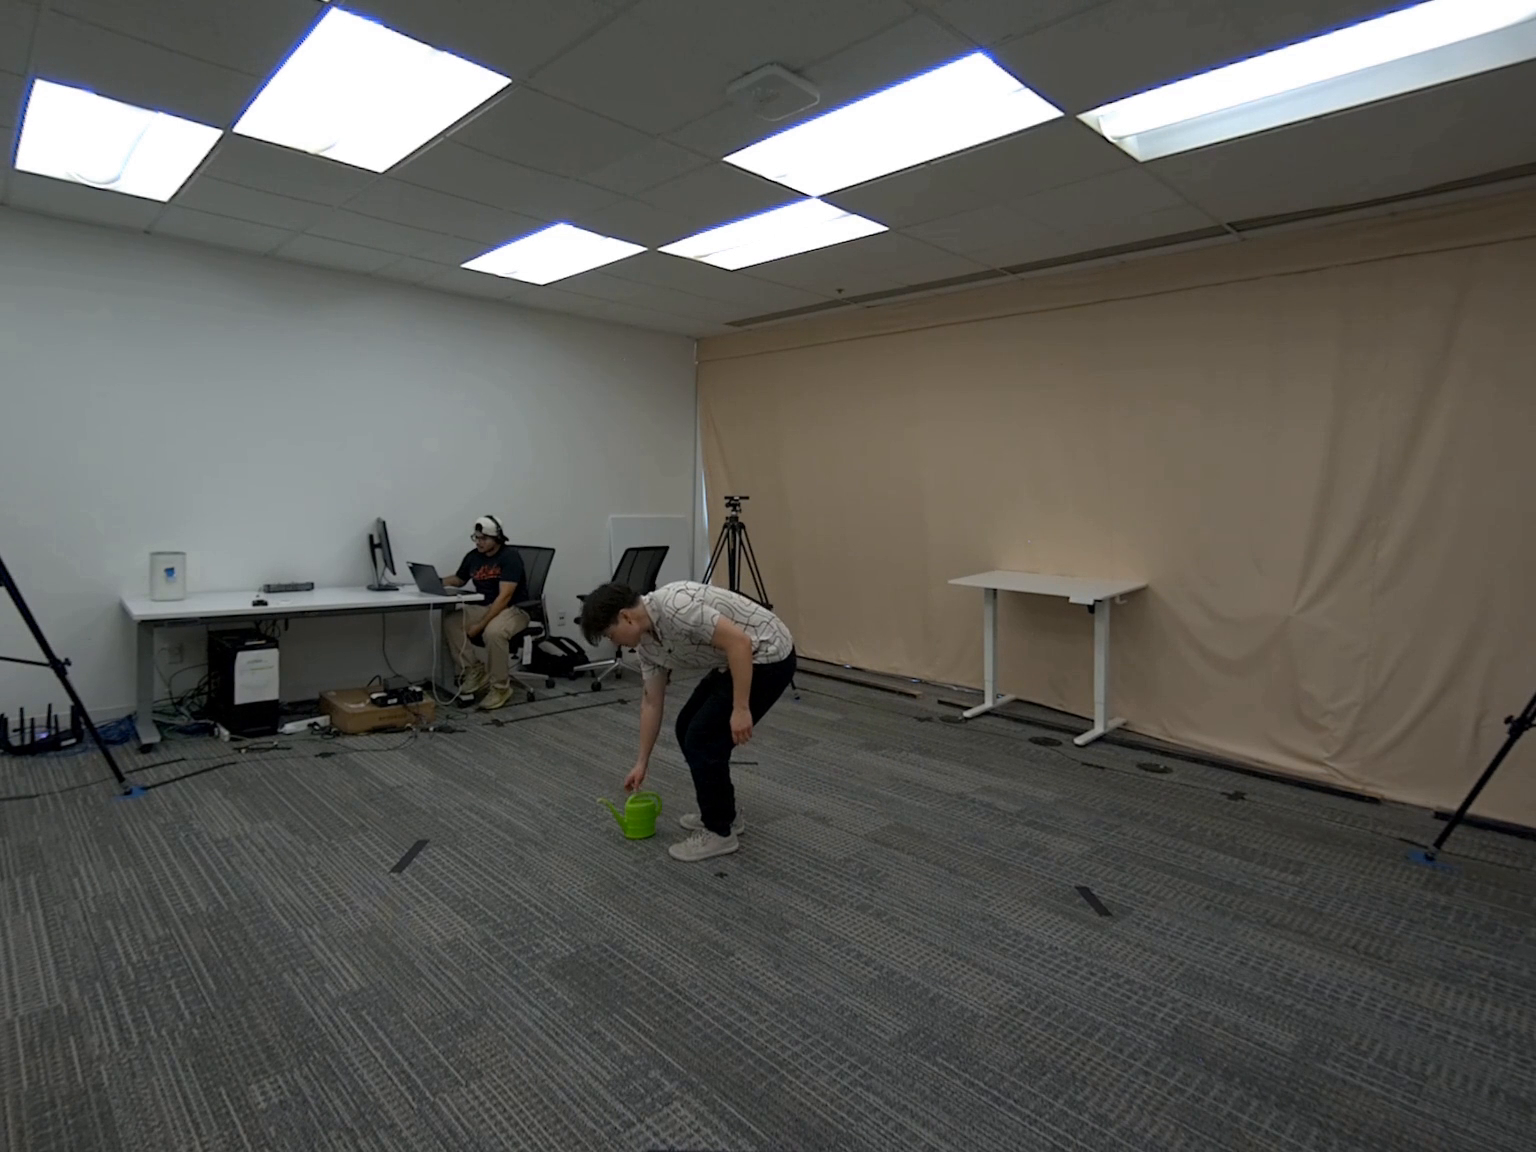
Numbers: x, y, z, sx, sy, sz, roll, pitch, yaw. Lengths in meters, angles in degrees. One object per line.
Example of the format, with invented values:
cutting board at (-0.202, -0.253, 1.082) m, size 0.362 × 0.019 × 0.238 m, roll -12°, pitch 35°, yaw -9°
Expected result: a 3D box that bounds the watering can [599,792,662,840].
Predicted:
watering can at (-0.562, 0.967, 3.438) m, size 0.275 × 0.176 × 0.099 m, roll 1°, pitch 5°, yaw -14°
